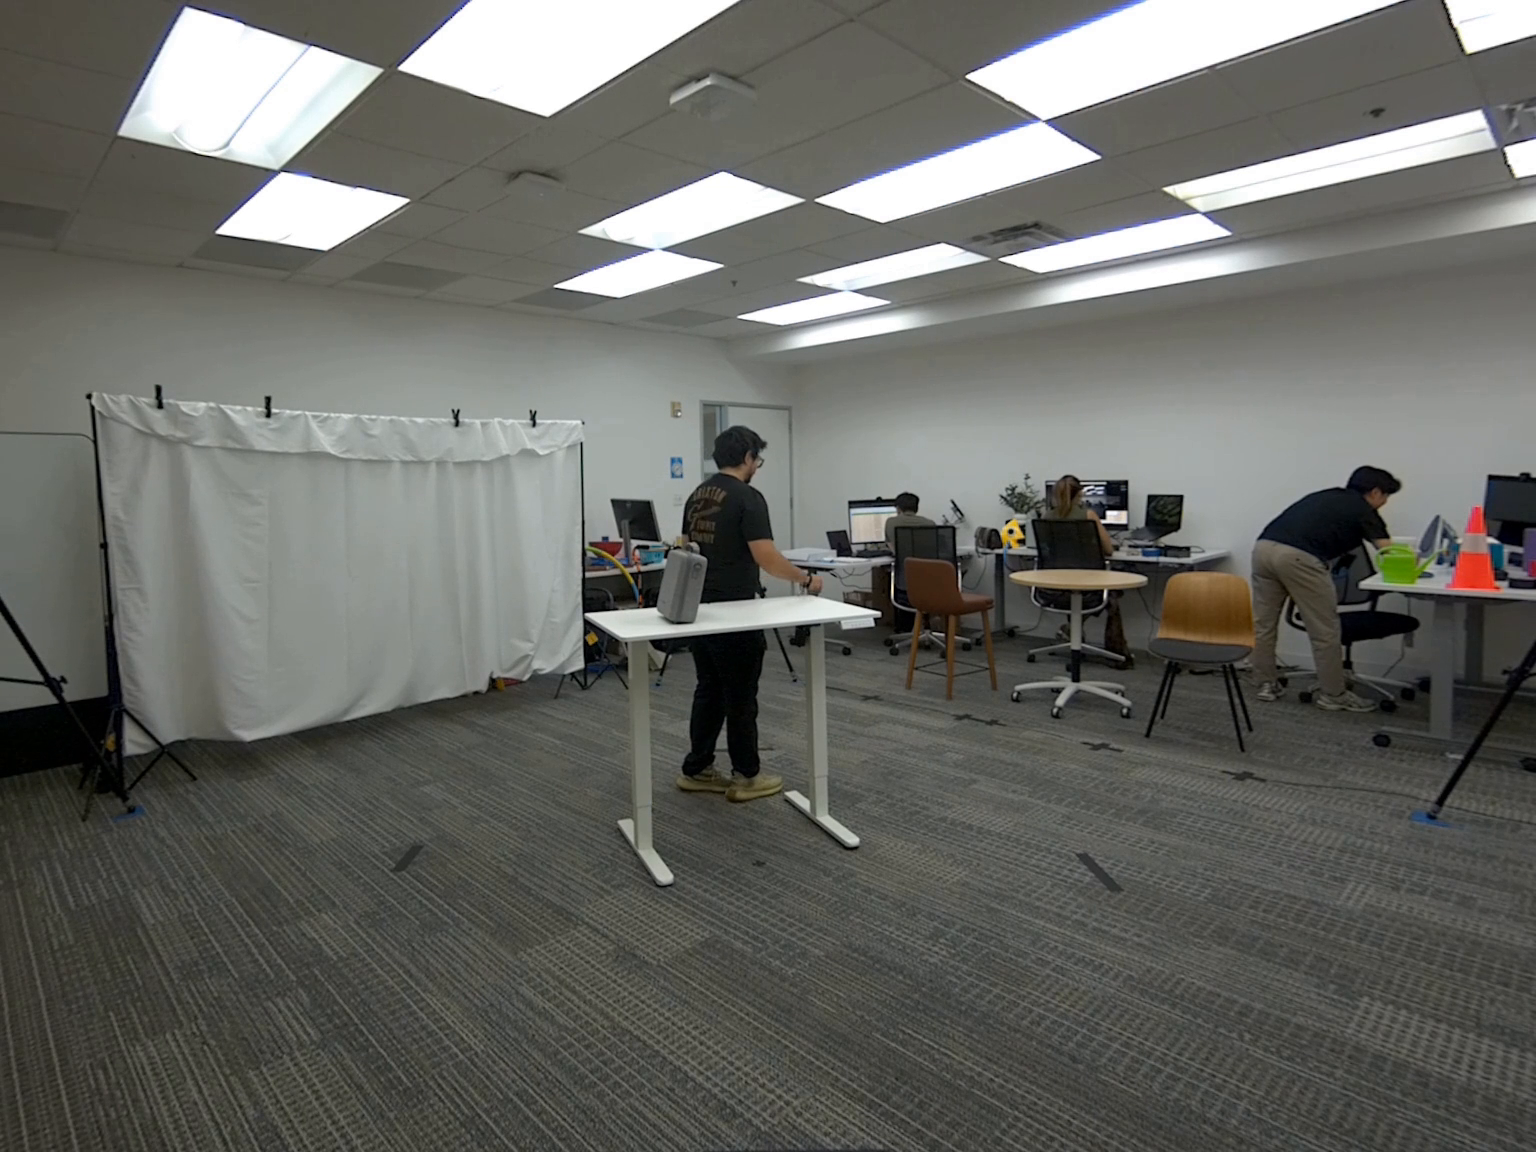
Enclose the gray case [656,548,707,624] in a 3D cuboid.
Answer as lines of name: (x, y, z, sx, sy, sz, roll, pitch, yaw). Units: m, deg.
gray case: (-0.329, 0.032, 3.185, 0.103, 0.260, 0.261, 5, 2, -14)
